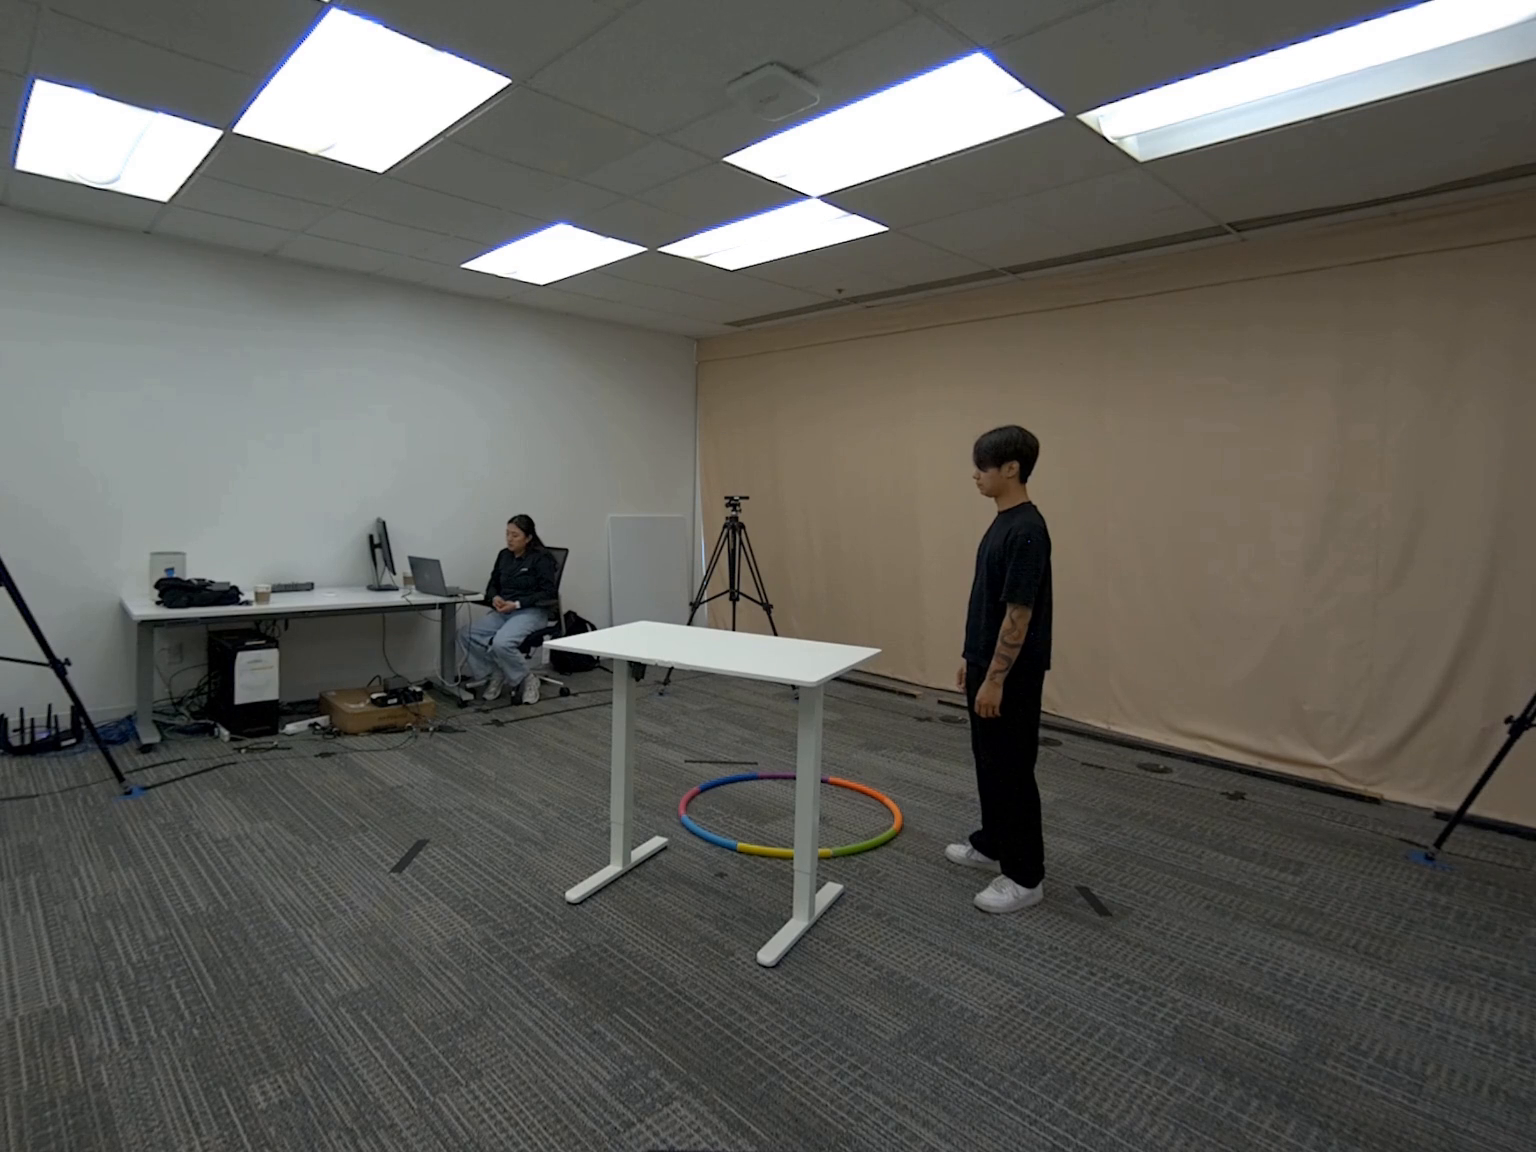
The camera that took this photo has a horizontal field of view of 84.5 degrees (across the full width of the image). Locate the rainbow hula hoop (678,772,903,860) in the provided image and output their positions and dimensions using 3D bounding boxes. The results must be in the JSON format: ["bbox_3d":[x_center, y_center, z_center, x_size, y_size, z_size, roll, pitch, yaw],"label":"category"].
[{"bbox_3d":[0.083,1.026,3.735,0.978,0.035,0.982,1,5,-1],"label":"rainbow hula hoop"}]
